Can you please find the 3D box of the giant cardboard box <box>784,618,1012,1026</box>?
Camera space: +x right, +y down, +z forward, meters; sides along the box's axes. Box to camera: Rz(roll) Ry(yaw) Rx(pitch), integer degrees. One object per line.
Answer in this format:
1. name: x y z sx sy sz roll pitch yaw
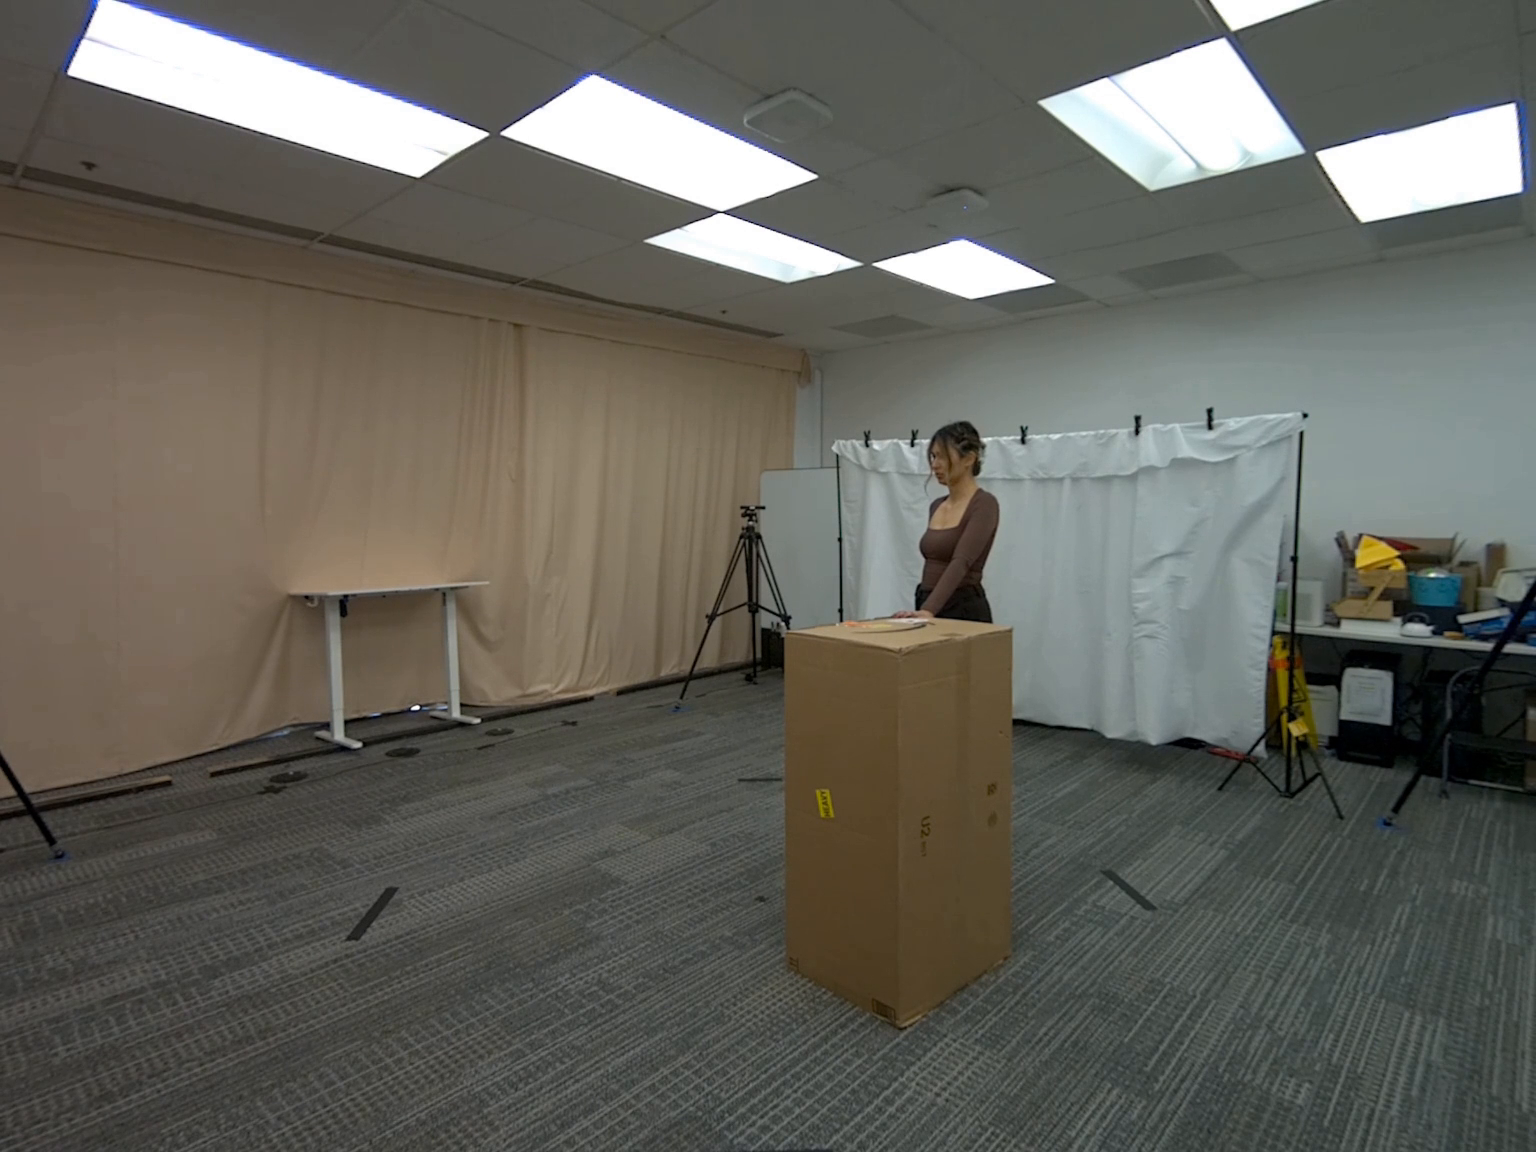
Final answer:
1. giant cardboard box: 0.404 0.670 2.554 0.566 1.025 0.461 -3 3 -41
